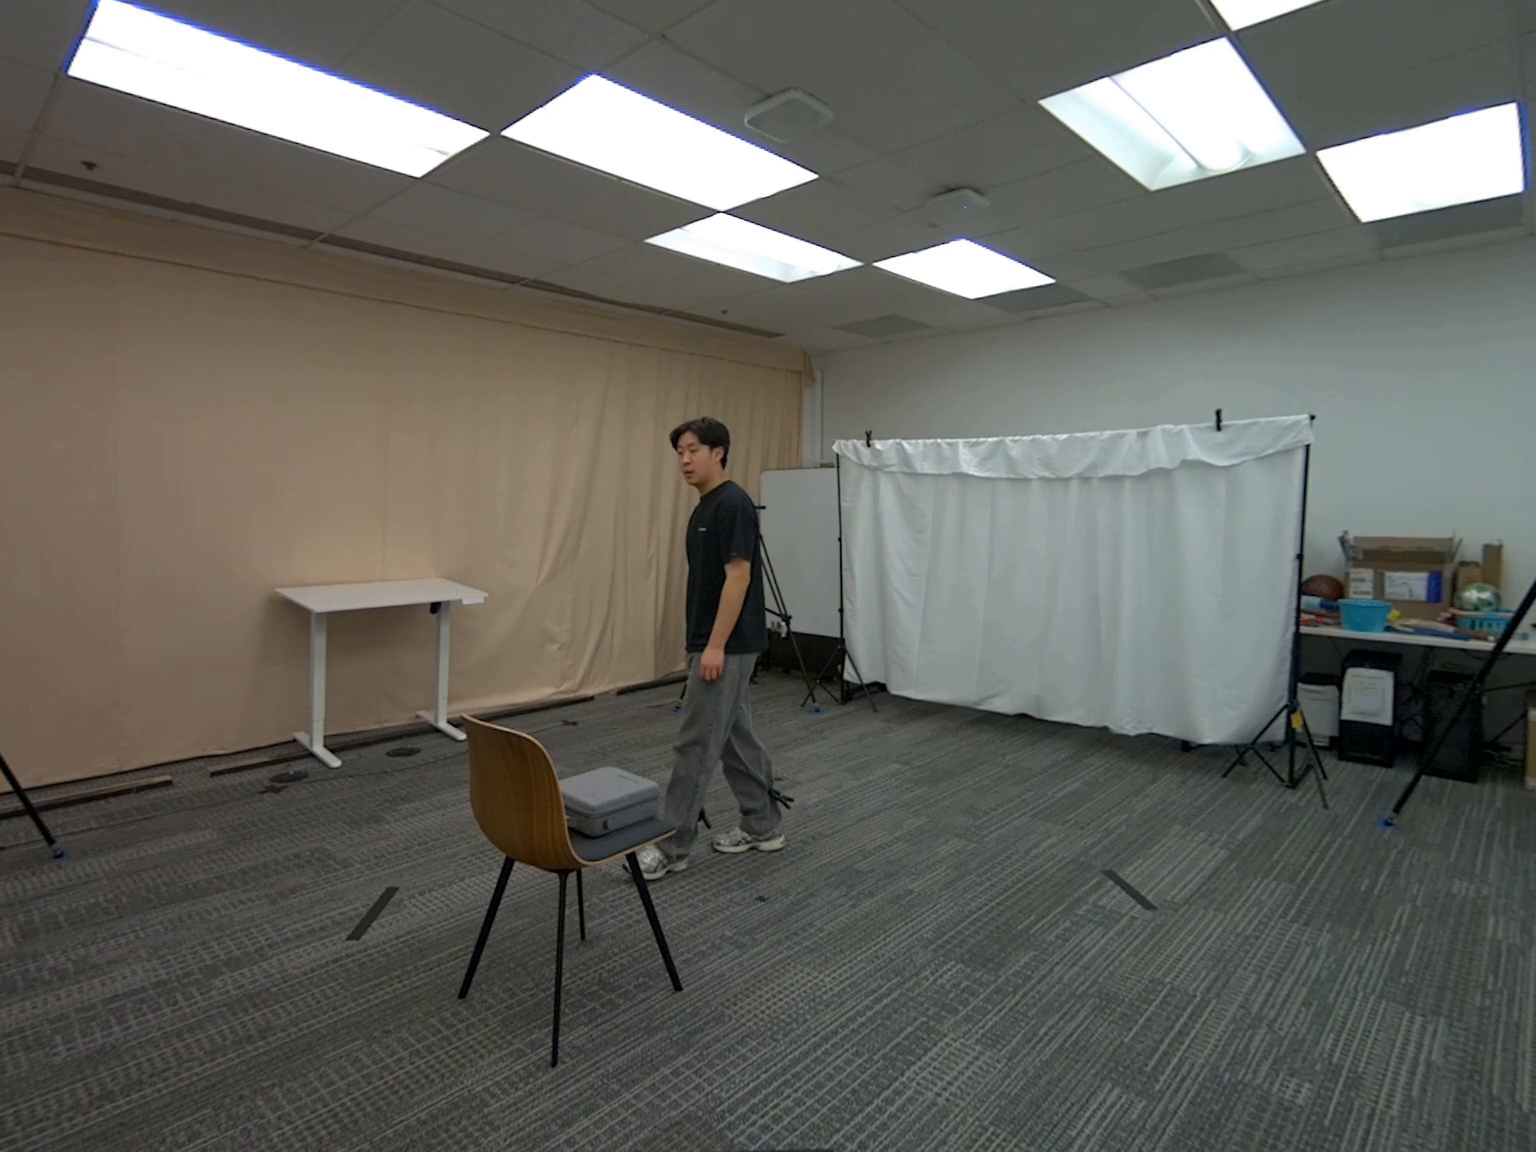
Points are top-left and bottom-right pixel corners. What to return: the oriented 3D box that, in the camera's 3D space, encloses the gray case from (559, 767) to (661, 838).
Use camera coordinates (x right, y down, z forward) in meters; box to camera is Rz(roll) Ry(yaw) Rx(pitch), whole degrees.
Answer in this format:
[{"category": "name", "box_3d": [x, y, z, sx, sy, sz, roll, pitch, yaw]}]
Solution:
[{"category": "gray case", "box_3d": [-0.491, 0.656, 2.450, 0.278, 0.103, 0.272, -7, 8, -44]}]
